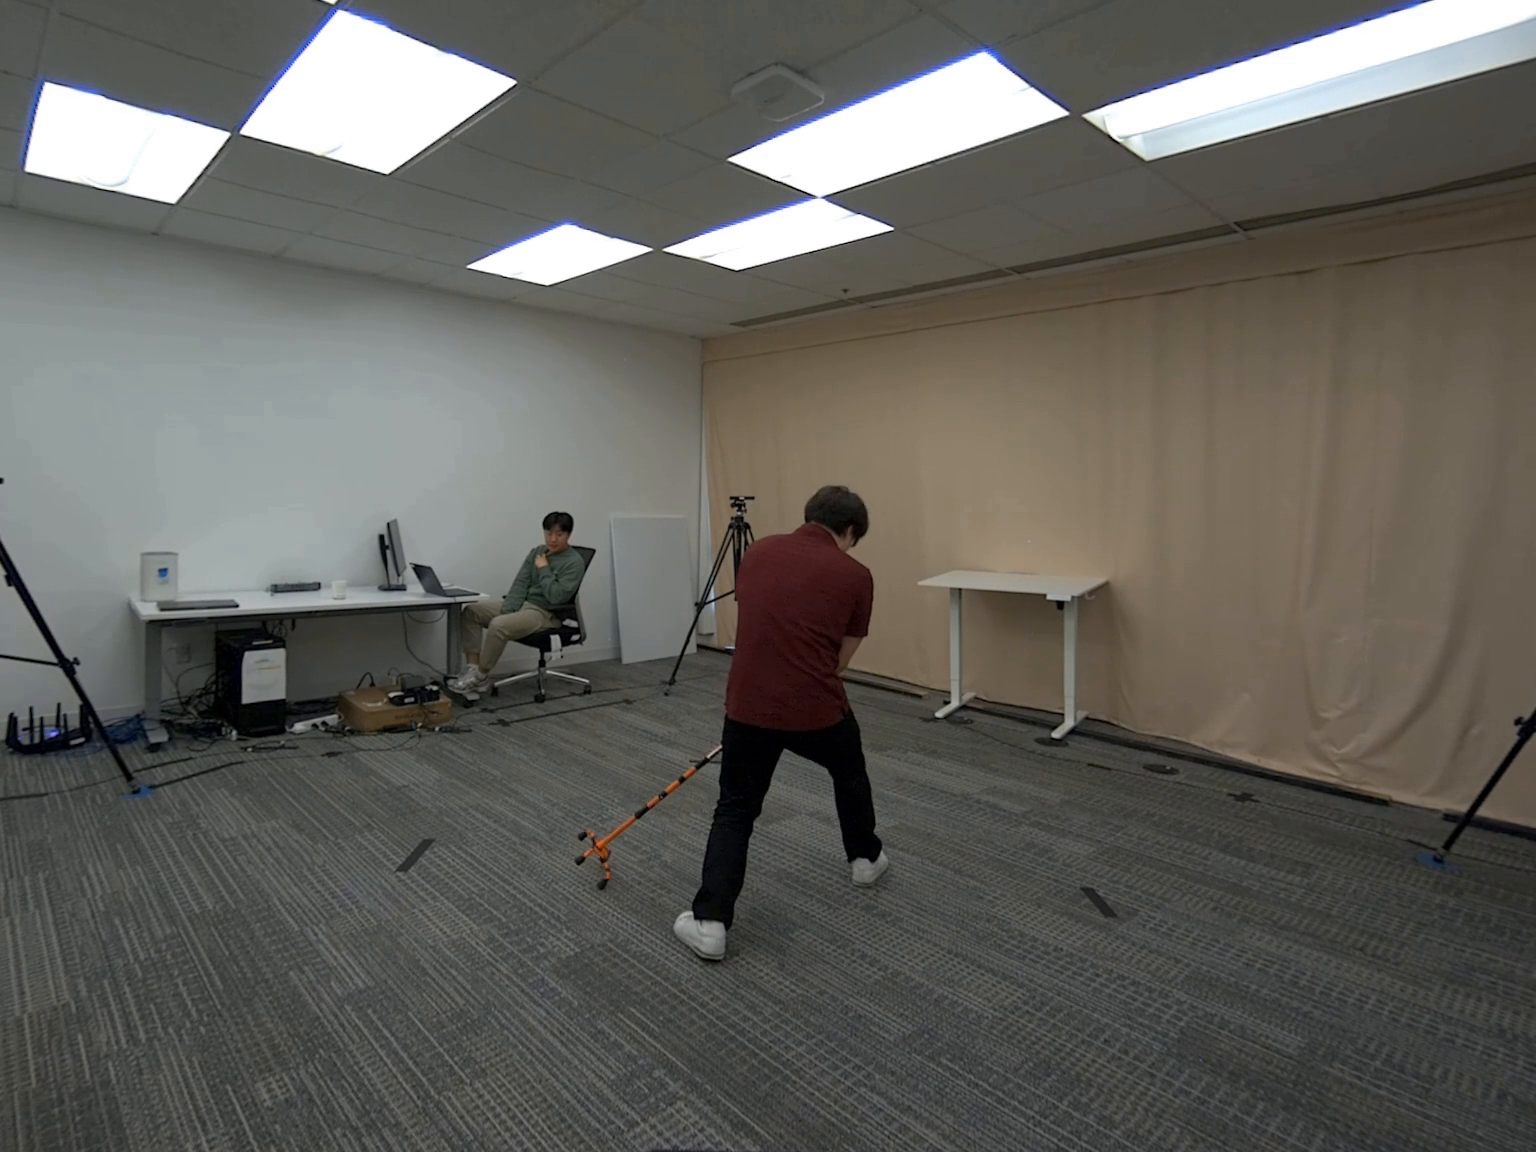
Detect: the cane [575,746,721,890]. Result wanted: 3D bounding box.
[{"bbox_3d":[-0.308,0.746,3.037,0.908,0.150,0.209,-39,12,0],"label":"cane"}]
